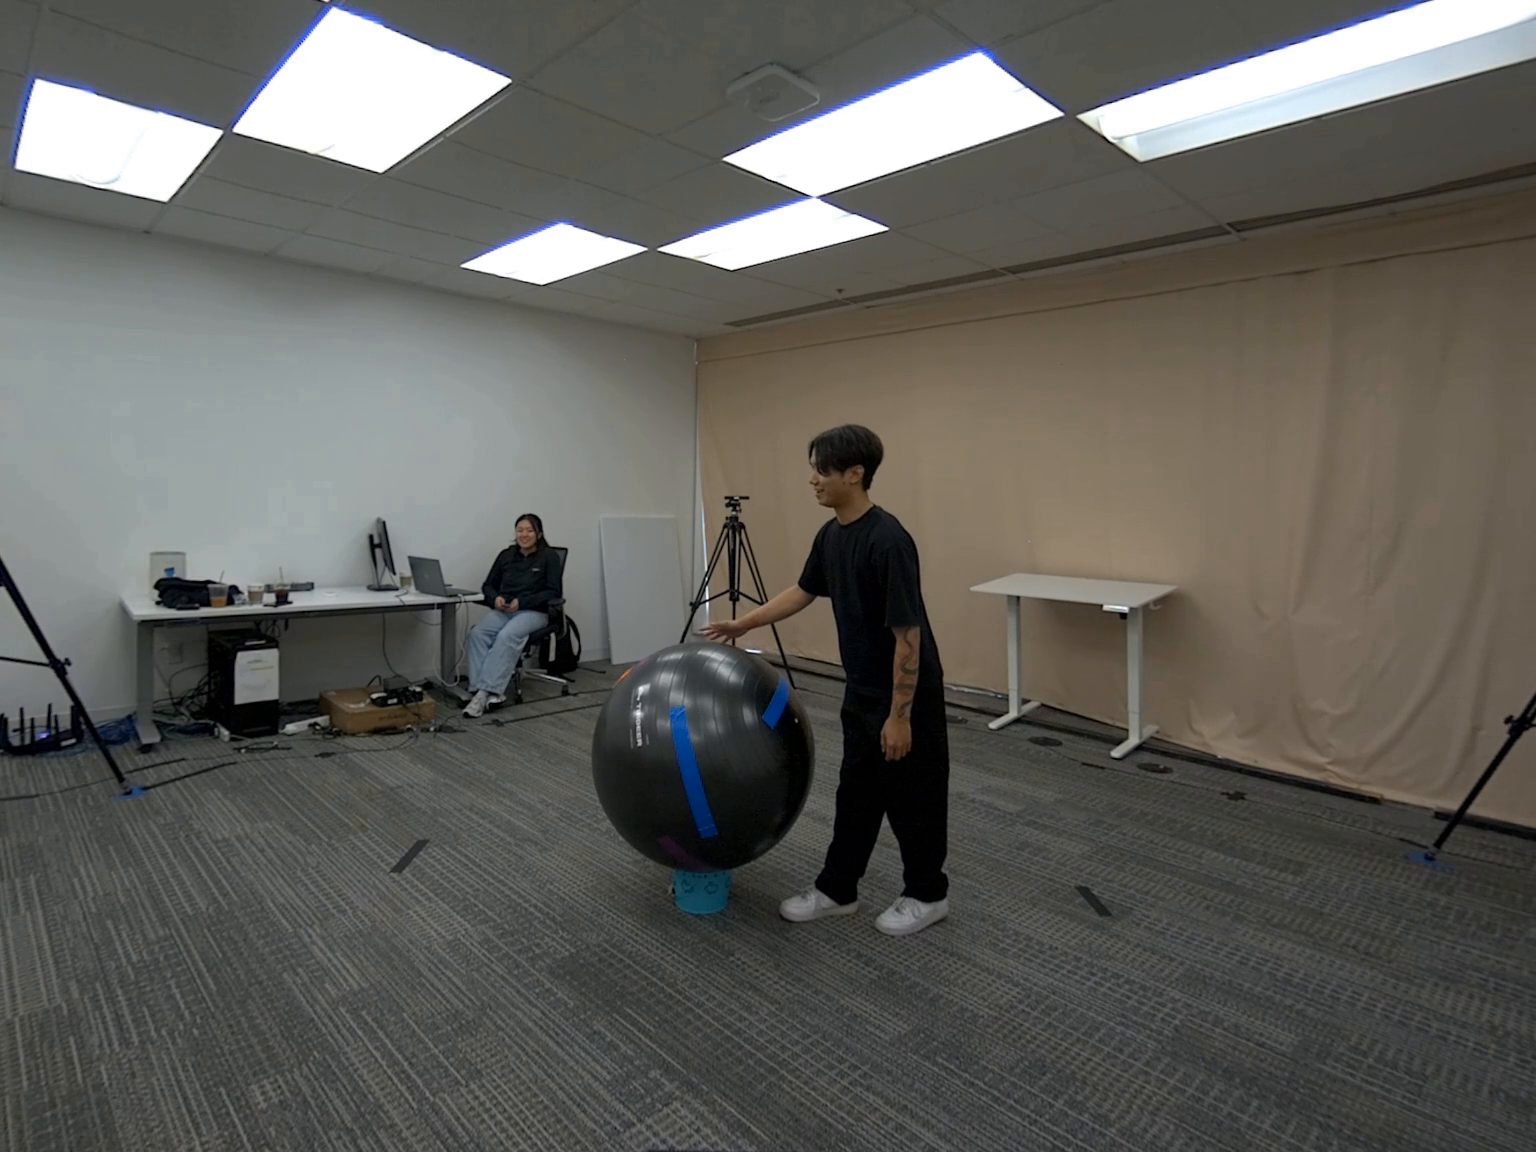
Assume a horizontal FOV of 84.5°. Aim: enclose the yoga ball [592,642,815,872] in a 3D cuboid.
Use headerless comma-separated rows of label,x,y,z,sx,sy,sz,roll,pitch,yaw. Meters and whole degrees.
yoga ball,-0.232,0.612,2.879,0.757,0.756,0.761,1,4,-1
